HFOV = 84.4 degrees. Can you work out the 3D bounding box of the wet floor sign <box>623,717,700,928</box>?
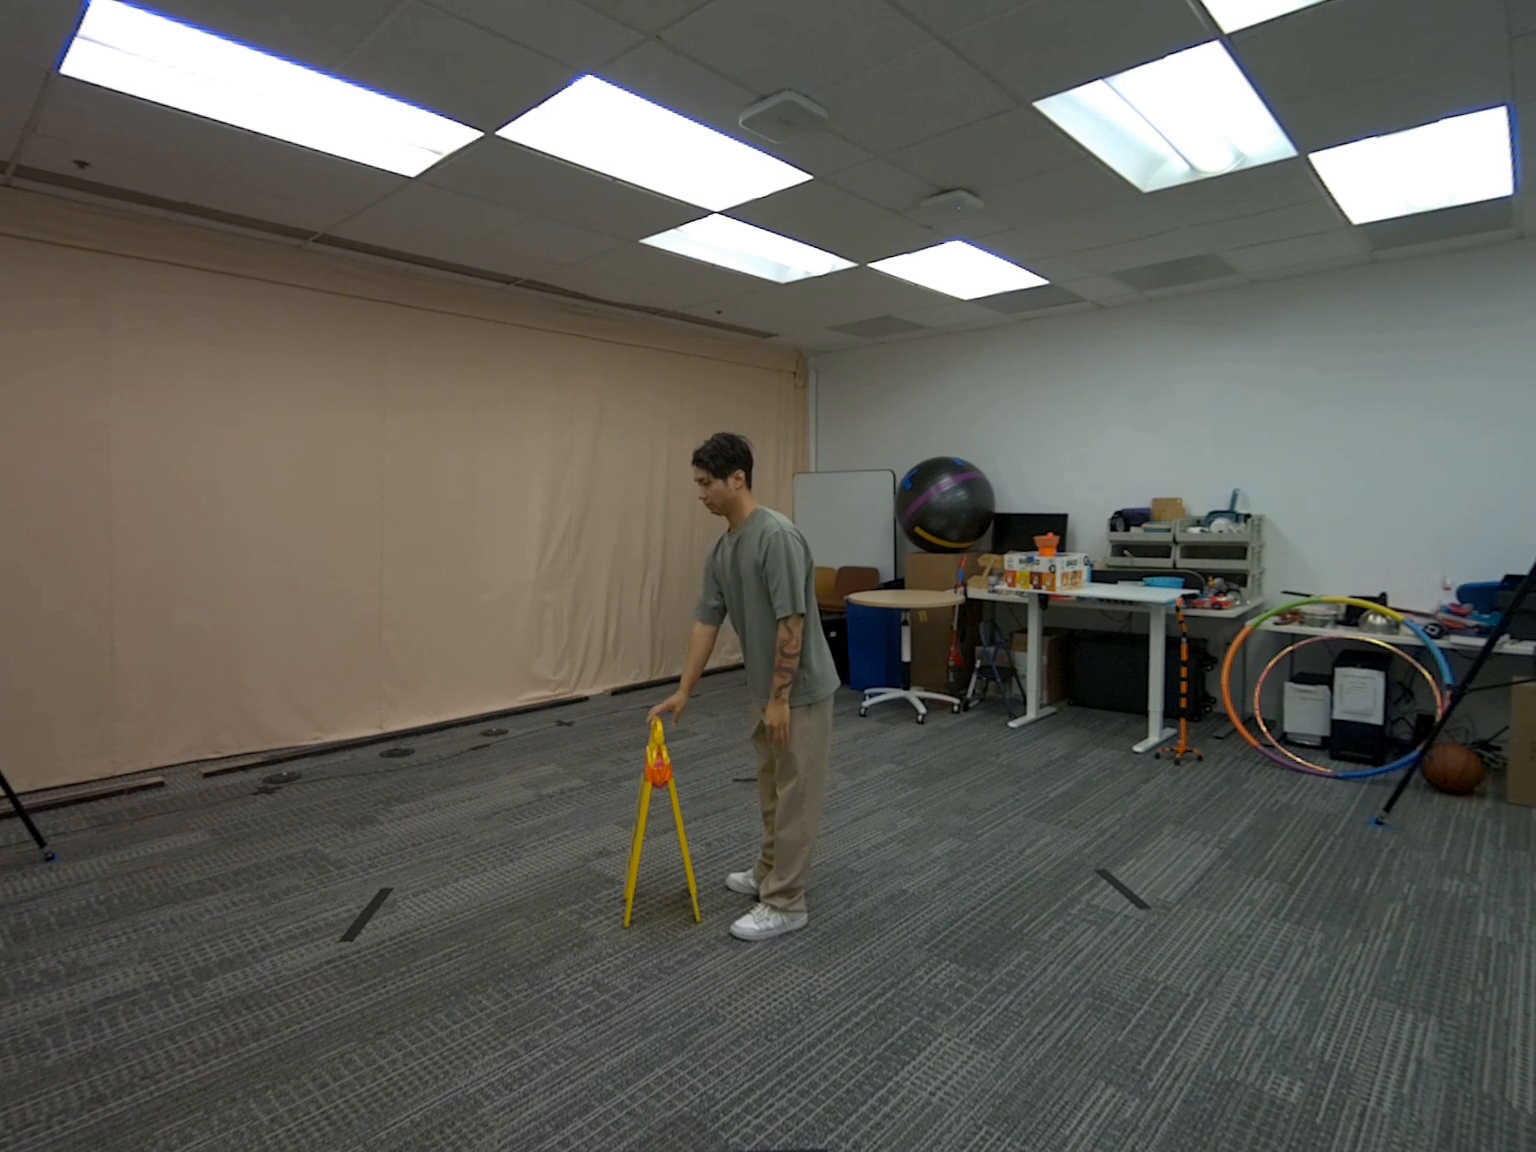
[{"bbox_3d":[-0.373,0.831,2.919,0.287,0.645,0.285,-1,3,-9],"label":"wet floor sign"}]
